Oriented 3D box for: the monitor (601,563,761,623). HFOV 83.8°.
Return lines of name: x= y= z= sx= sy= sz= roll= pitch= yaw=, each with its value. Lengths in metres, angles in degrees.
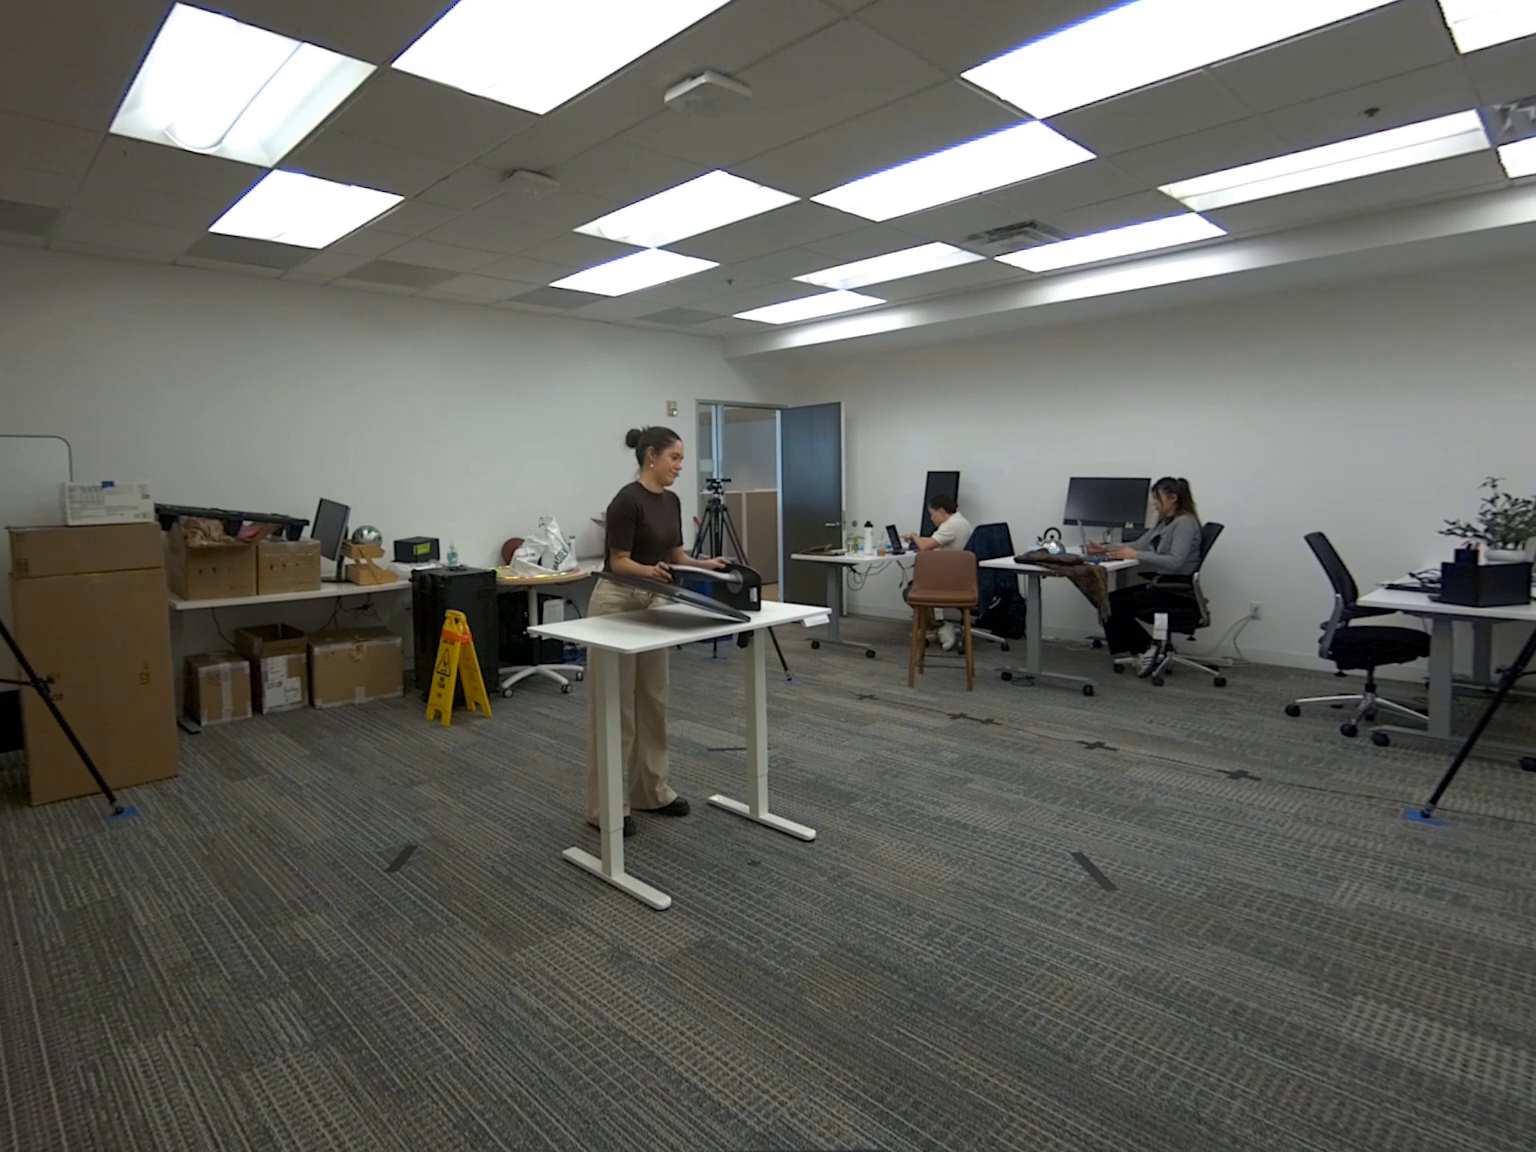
monitor: x=-0.281 y=0.039 z=3.192 sx=0.507 sy=0.187 sz=0.556 roll=2 pitch=4 yaw=-42
